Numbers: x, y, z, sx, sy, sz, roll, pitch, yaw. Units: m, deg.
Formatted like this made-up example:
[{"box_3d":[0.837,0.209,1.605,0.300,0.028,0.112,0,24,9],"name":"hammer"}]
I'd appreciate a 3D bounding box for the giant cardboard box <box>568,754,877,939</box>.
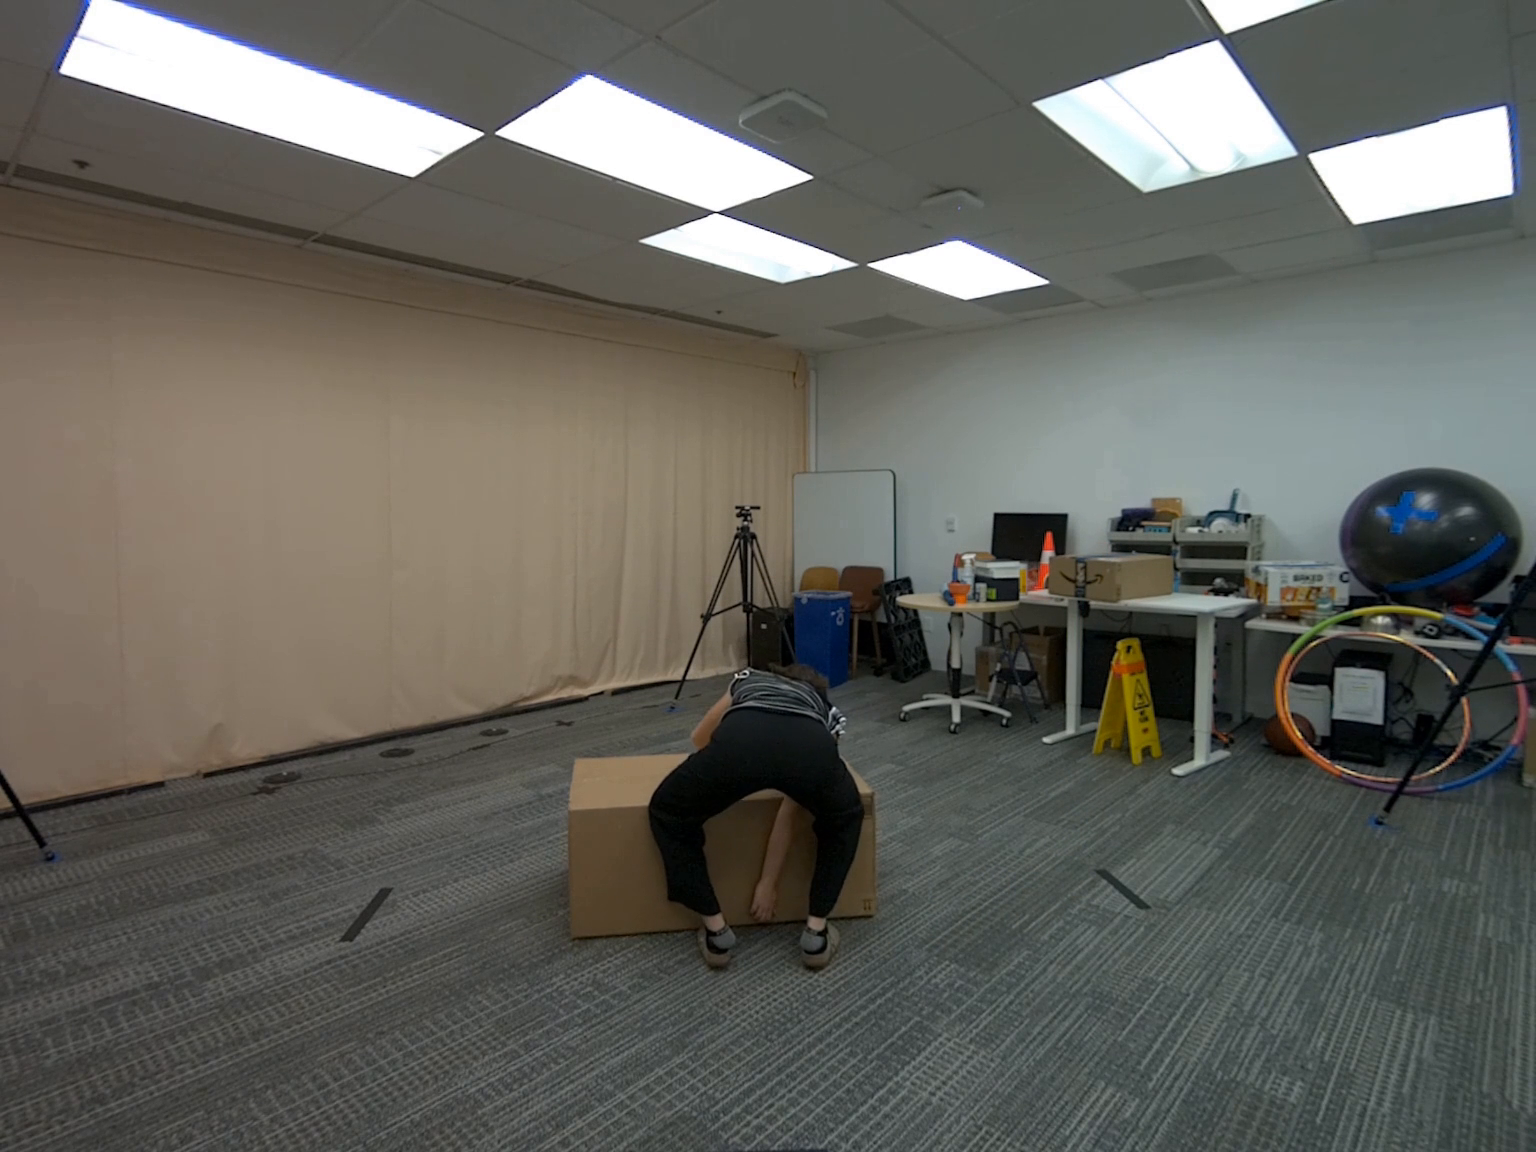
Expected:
[{"box_3d":[-0.192,0.922,3.045,1.017,0.425,0.584,-1,4,-8],"name":"giant cardboard box"}]
